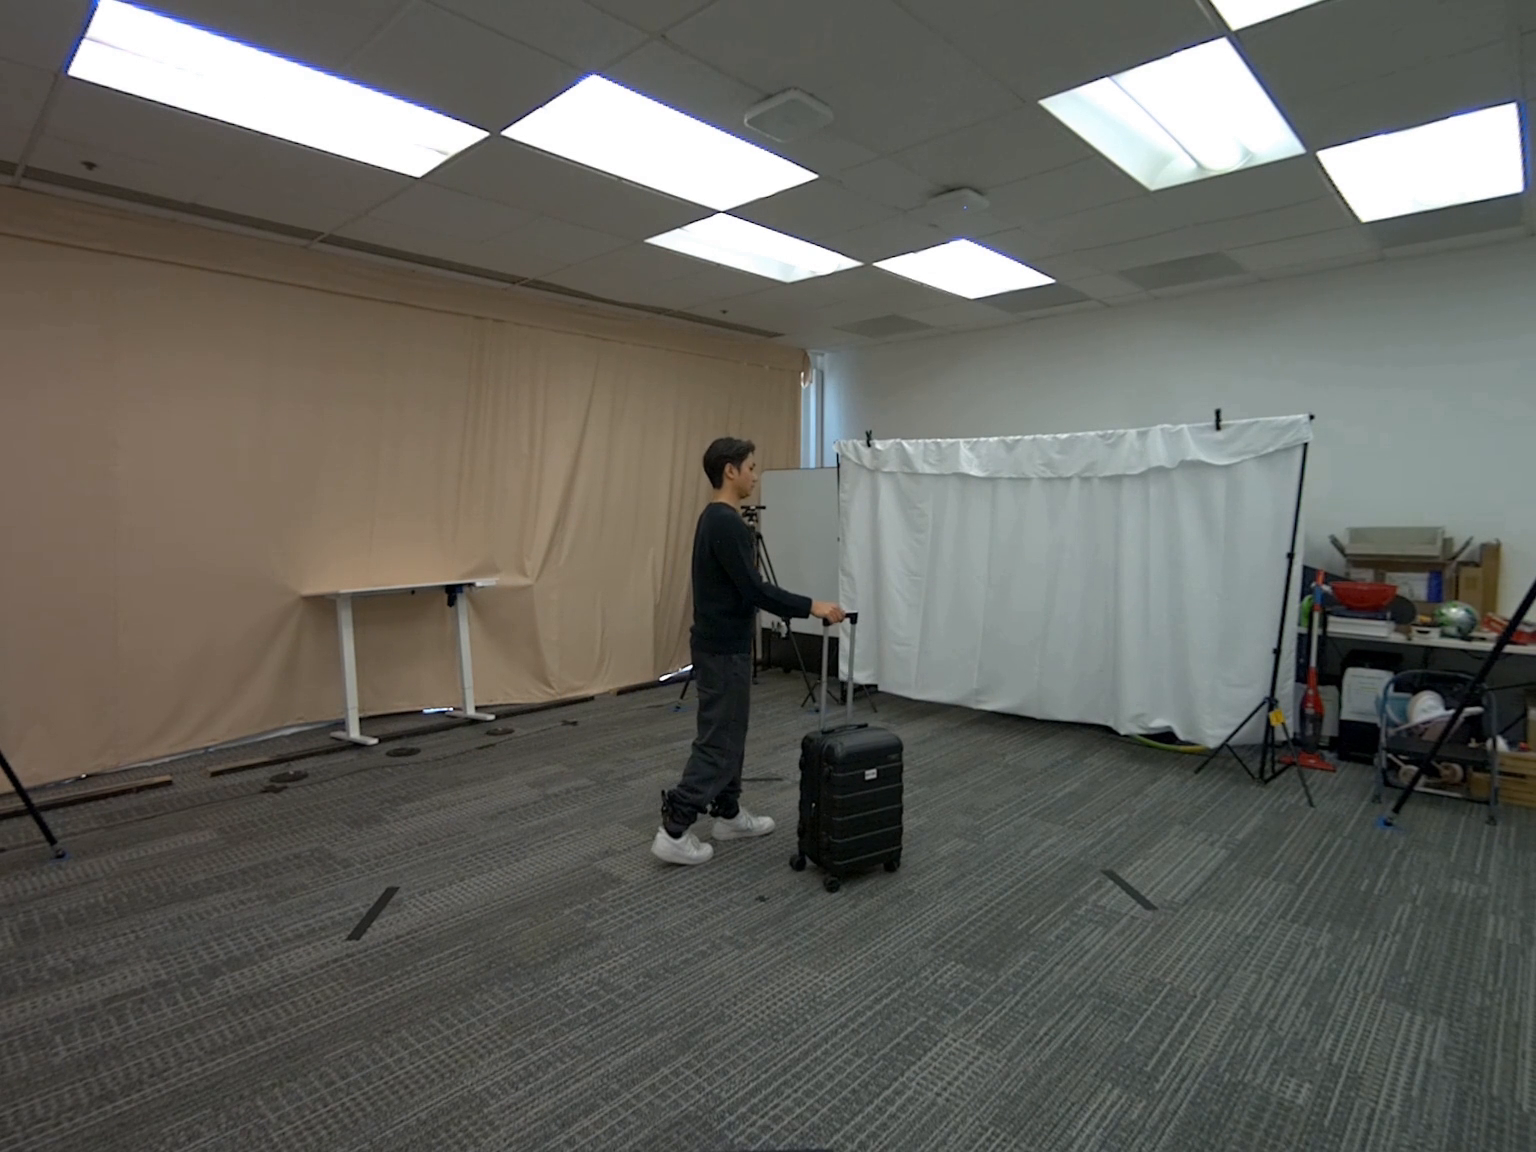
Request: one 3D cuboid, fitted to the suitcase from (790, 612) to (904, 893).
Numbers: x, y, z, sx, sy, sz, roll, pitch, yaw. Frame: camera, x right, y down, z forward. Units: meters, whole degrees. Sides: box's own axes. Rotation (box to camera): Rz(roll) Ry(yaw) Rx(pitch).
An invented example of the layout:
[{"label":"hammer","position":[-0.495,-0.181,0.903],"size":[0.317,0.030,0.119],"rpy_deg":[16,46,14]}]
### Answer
[{"label":"suitcase","position":[0.328,0.651,3.181],"size":[0.374,0.976,0.264],"rpy_deg":[0,5,-28]}]
